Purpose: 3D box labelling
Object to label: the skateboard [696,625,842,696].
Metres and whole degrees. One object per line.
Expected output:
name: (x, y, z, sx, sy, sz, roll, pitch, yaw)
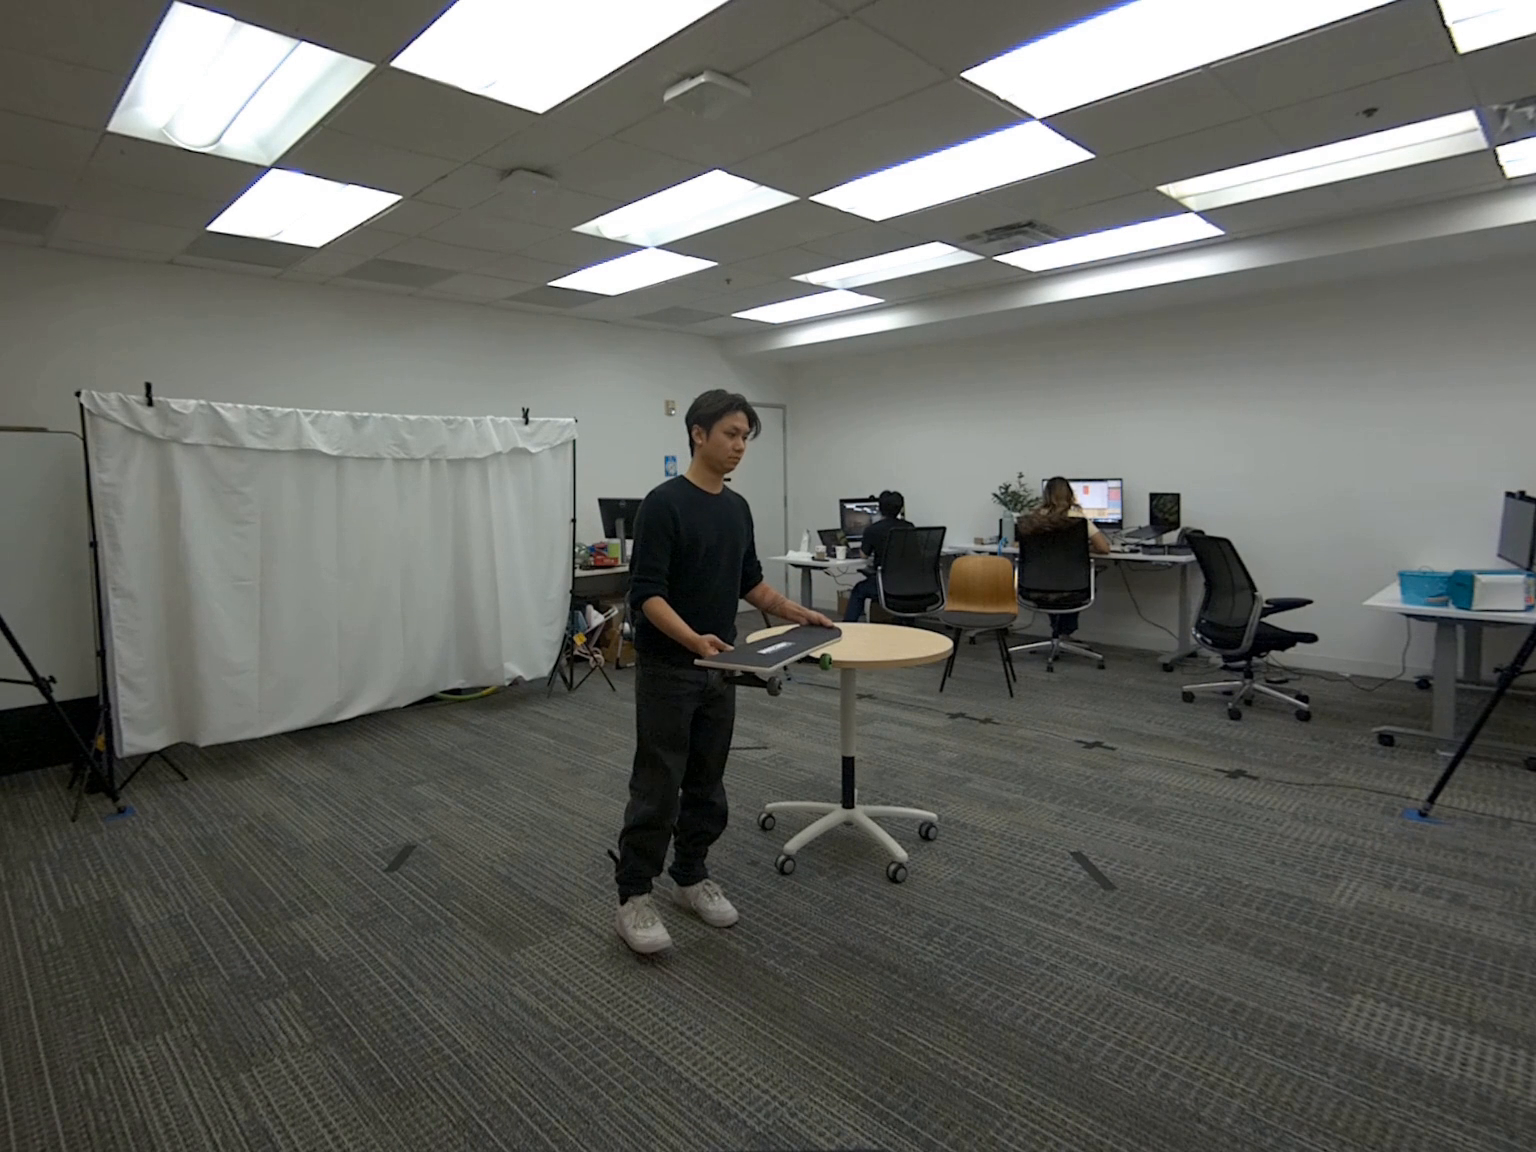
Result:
skateboard: (0.019, 0.239, 2.396, 0.198, 0.110, 0.770, 3, 5, 23)
